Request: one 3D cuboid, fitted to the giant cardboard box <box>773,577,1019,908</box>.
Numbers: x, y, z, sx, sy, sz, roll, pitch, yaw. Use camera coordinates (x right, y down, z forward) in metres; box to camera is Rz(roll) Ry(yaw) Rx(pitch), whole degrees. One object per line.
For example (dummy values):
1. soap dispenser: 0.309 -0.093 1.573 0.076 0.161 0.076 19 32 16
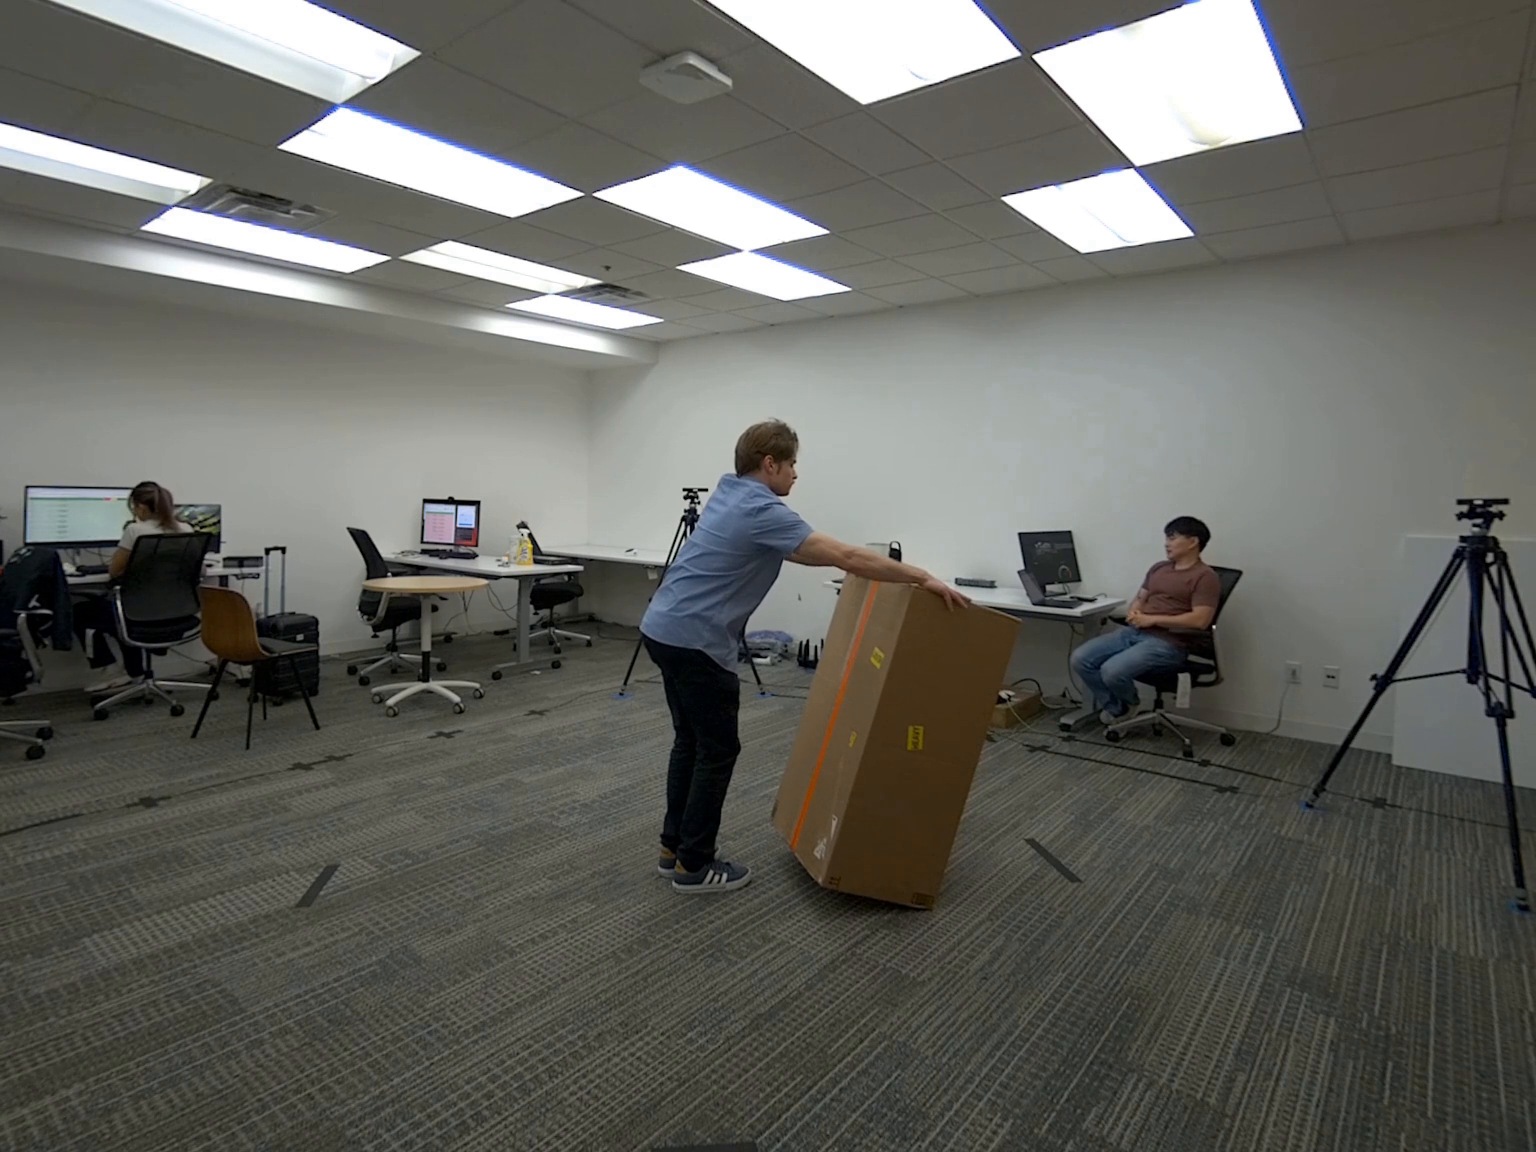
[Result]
1. giant cardboard box: 0.418 0.537 3.071 0.439 1.027 0.595 16 0 -15
